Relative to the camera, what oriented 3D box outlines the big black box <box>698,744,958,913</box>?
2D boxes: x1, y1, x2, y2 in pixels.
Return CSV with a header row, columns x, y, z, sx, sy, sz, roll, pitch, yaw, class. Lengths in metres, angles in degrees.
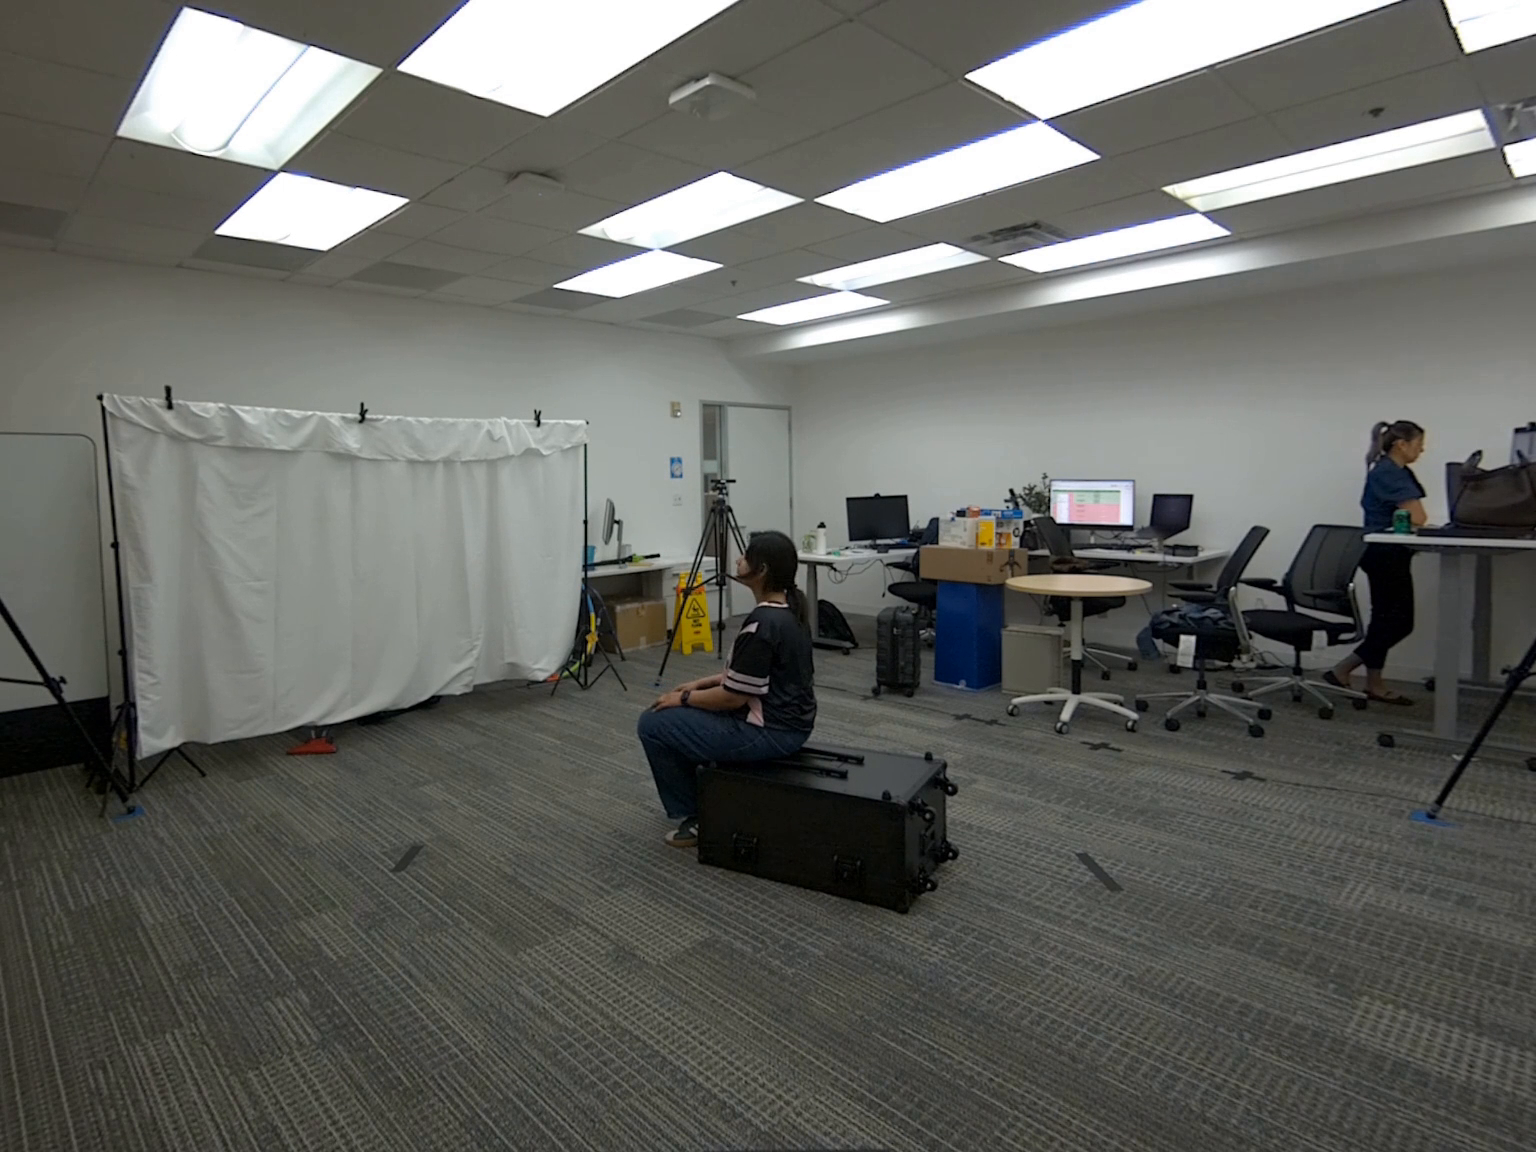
x,y,z,sx,sy,sz,roll,pitch,yaw,class
0.237,0.857,3.102,0.891,0.384,0.512,2,5,28,big black box
